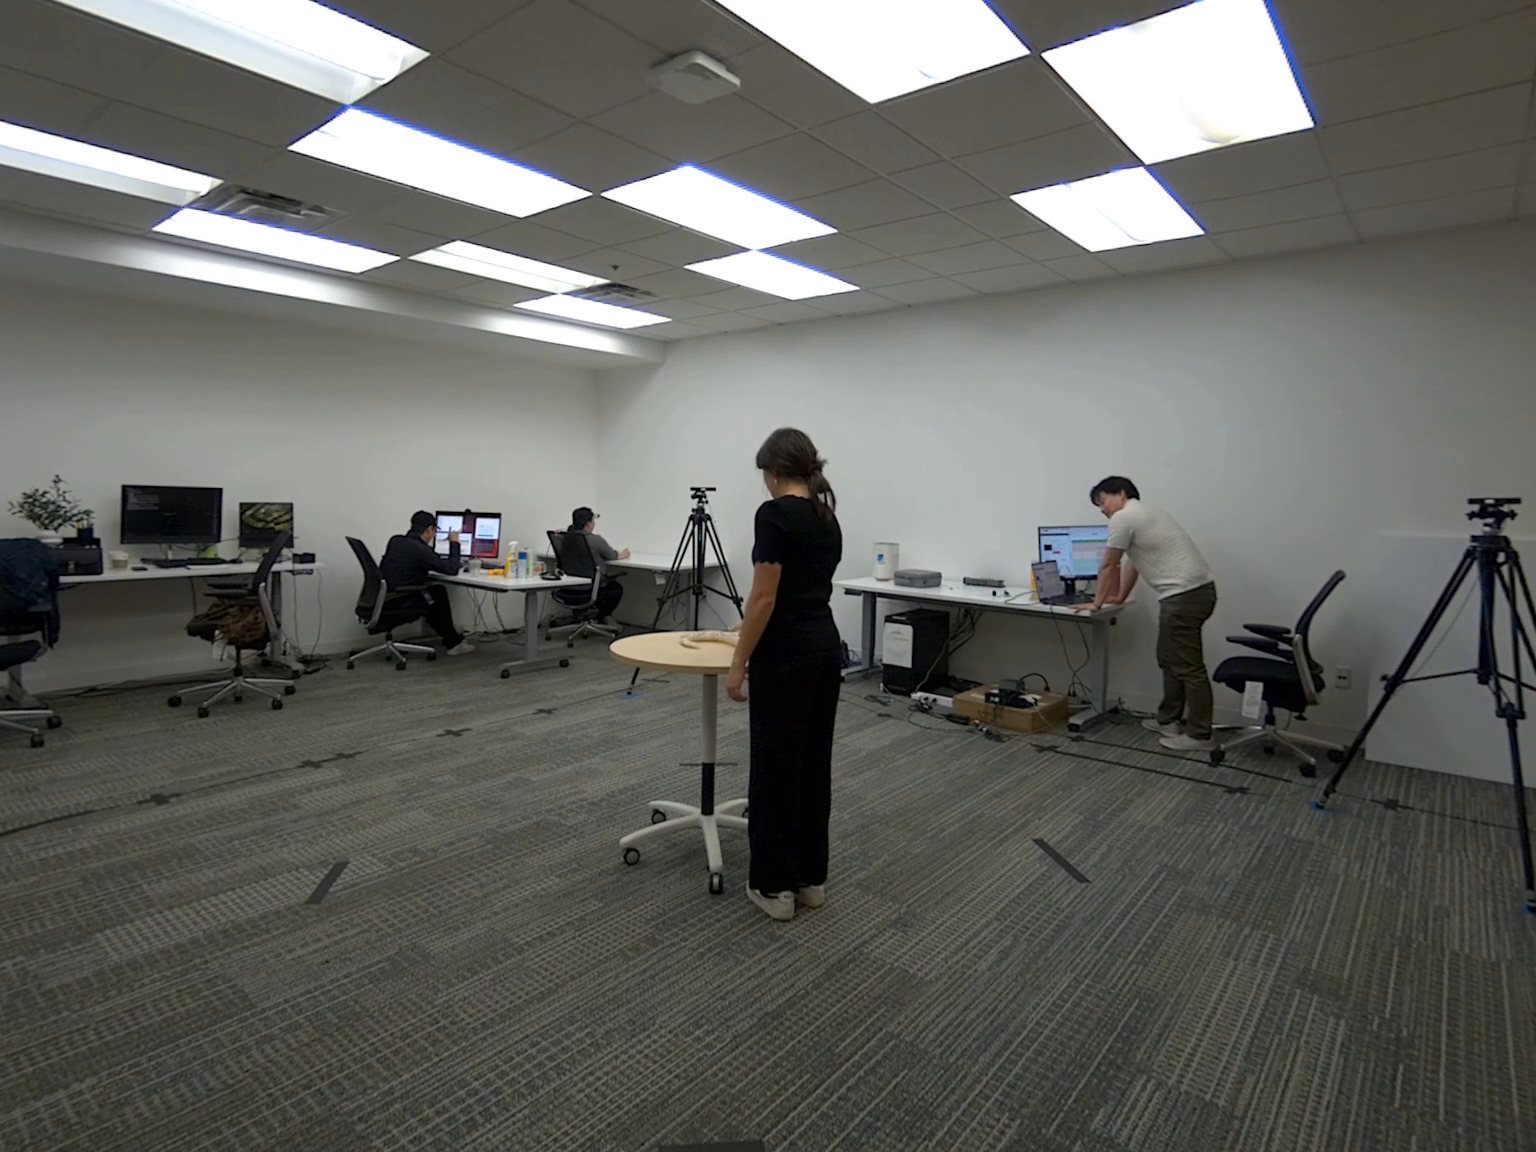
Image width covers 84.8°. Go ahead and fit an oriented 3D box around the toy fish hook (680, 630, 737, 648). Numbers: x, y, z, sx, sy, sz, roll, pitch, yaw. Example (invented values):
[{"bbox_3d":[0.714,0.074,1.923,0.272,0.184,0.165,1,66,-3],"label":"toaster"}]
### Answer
[{"bbox_3d":[-0.171,0.261,3.200,0.219,0.048,0.523,-12,11,-36],"label":"toy fish hook"}]
